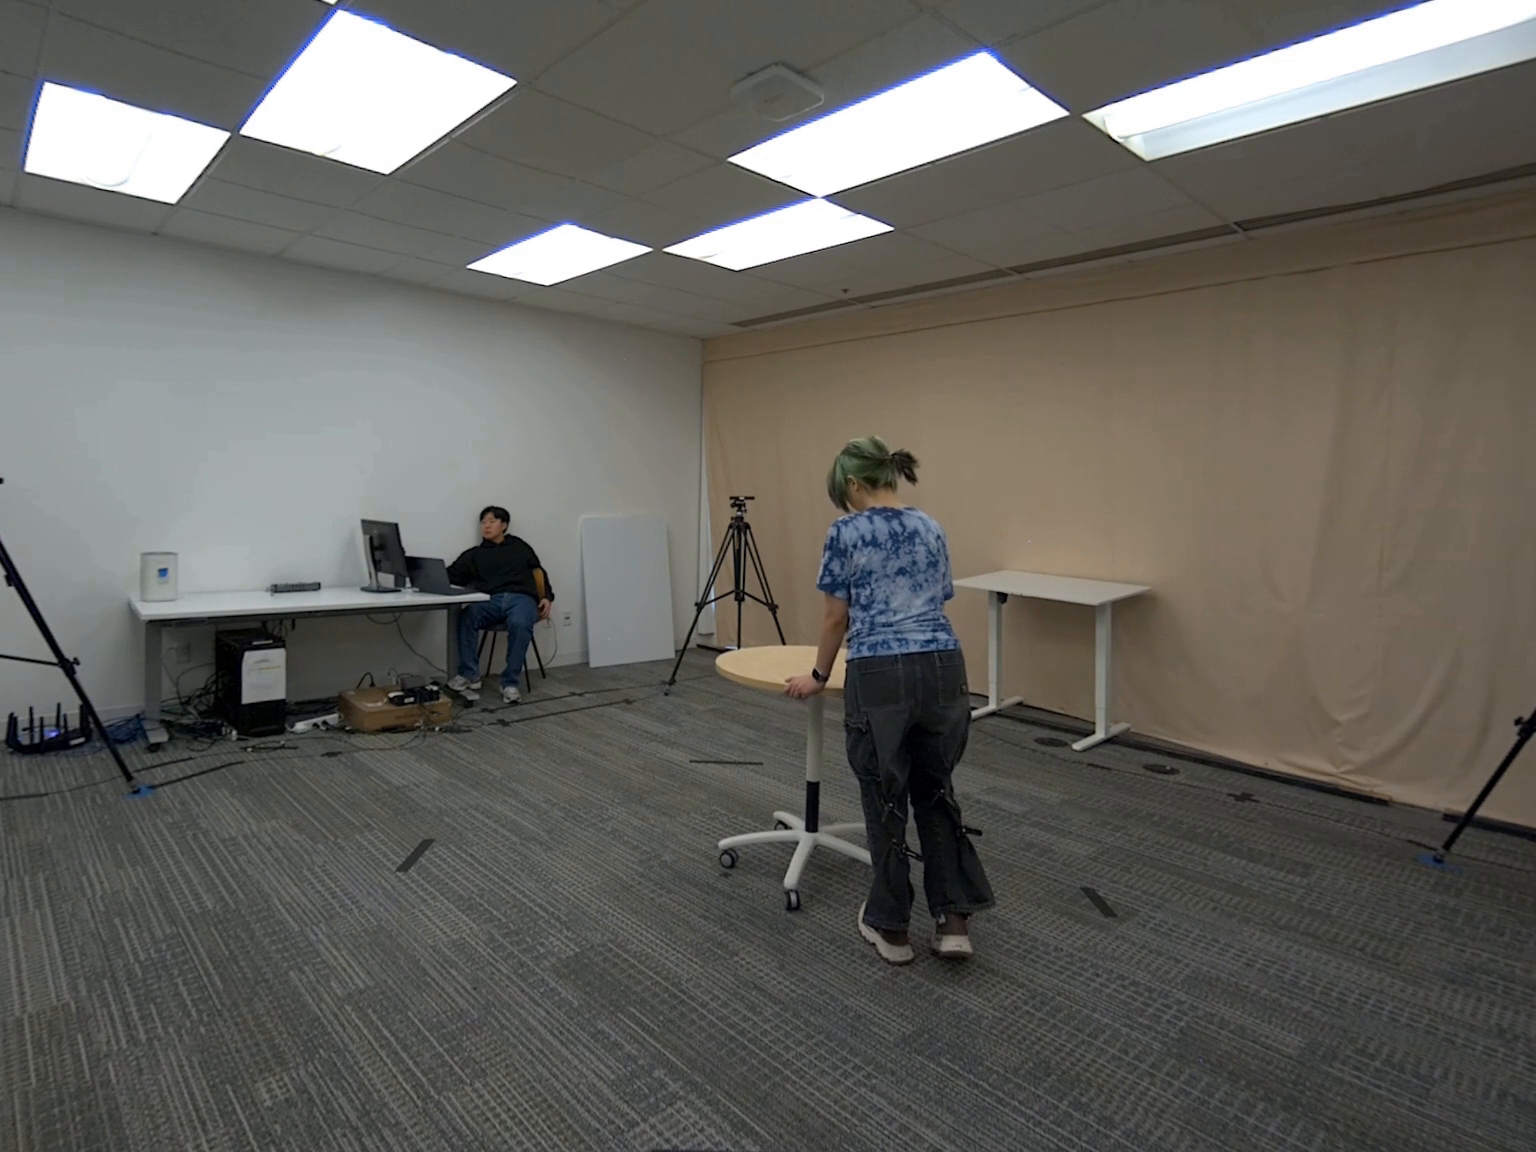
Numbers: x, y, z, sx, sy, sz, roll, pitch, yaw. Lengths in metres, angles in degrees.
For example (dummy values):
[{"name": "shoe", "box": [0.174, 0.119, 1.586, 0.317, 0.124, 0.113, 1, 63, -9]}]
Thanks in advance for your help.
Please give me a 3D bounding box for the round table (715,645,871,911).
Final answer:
[{"name": "round table", "box": [0.171, 0.720, 3.165, 0.763, 0.792, 0.767, 2, 4, -2]}]
